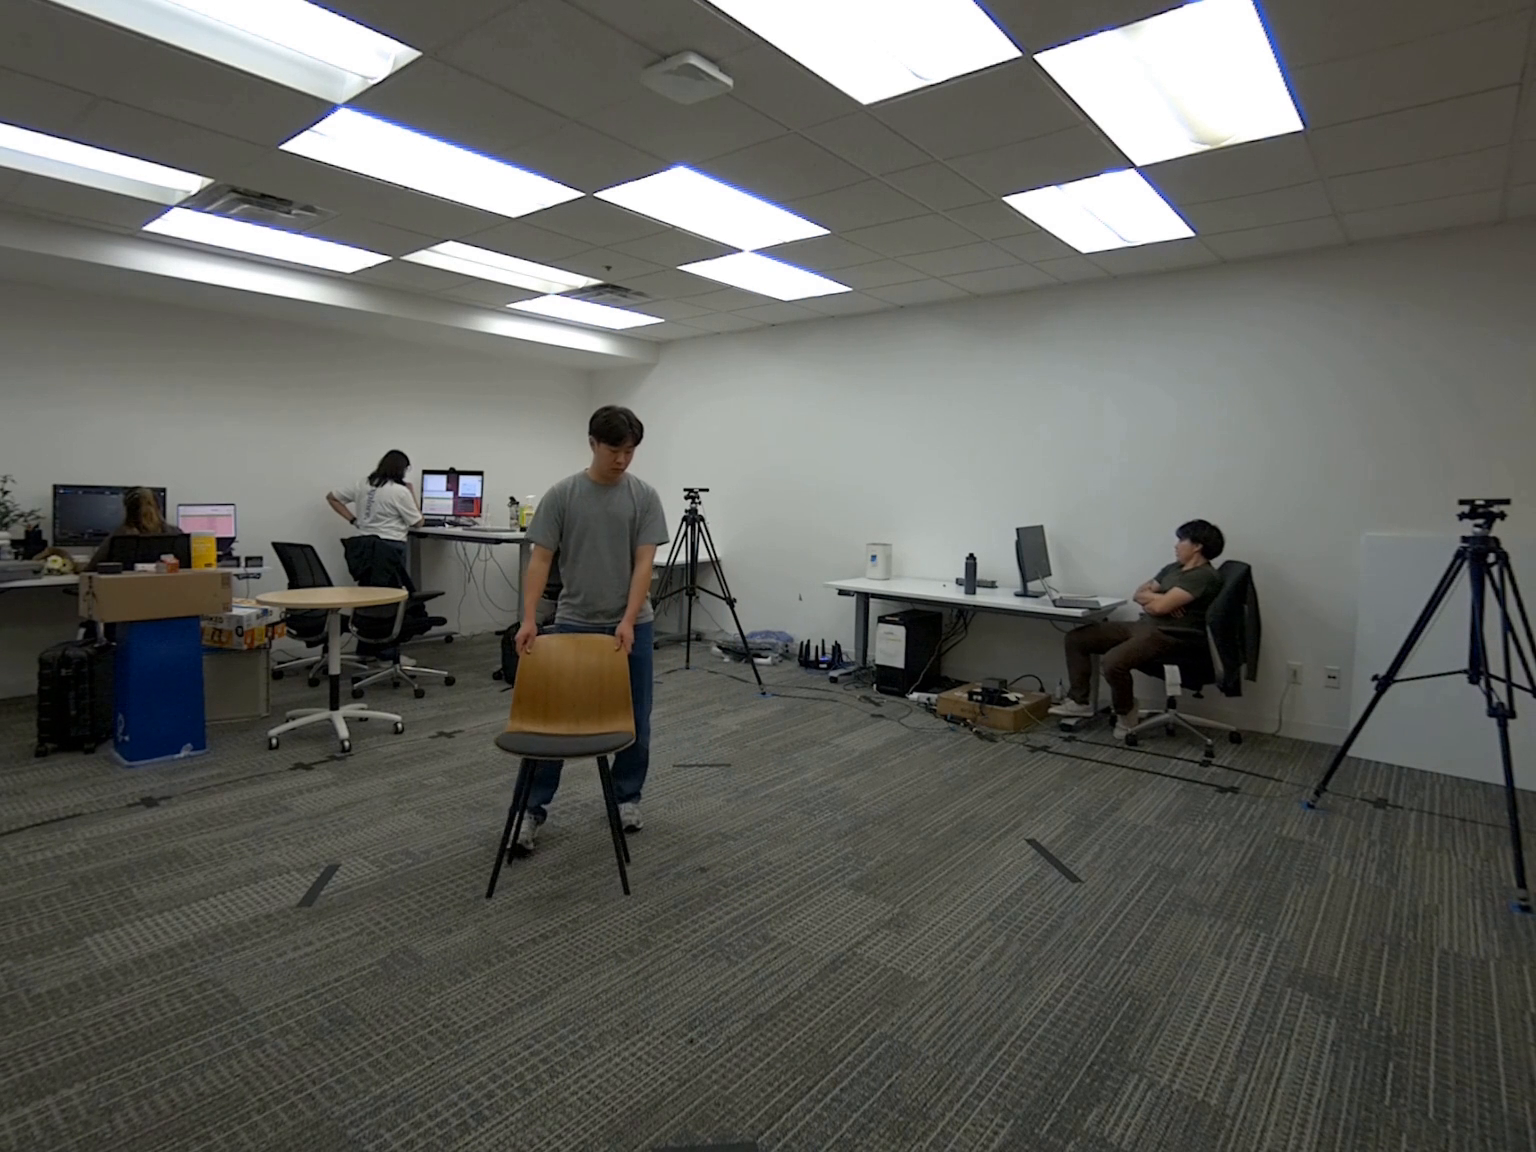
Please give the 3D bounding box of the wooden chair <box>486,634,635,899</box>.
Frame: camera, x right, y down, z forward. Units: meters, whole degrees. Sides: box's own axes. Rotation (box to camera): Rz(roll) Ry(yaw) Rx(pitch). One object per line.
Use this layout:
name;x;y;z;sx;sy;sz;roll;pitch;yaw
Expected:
wooden chair;-0.707;0.614;2.966;0.475;0.888;0.521;1;-12;-7
